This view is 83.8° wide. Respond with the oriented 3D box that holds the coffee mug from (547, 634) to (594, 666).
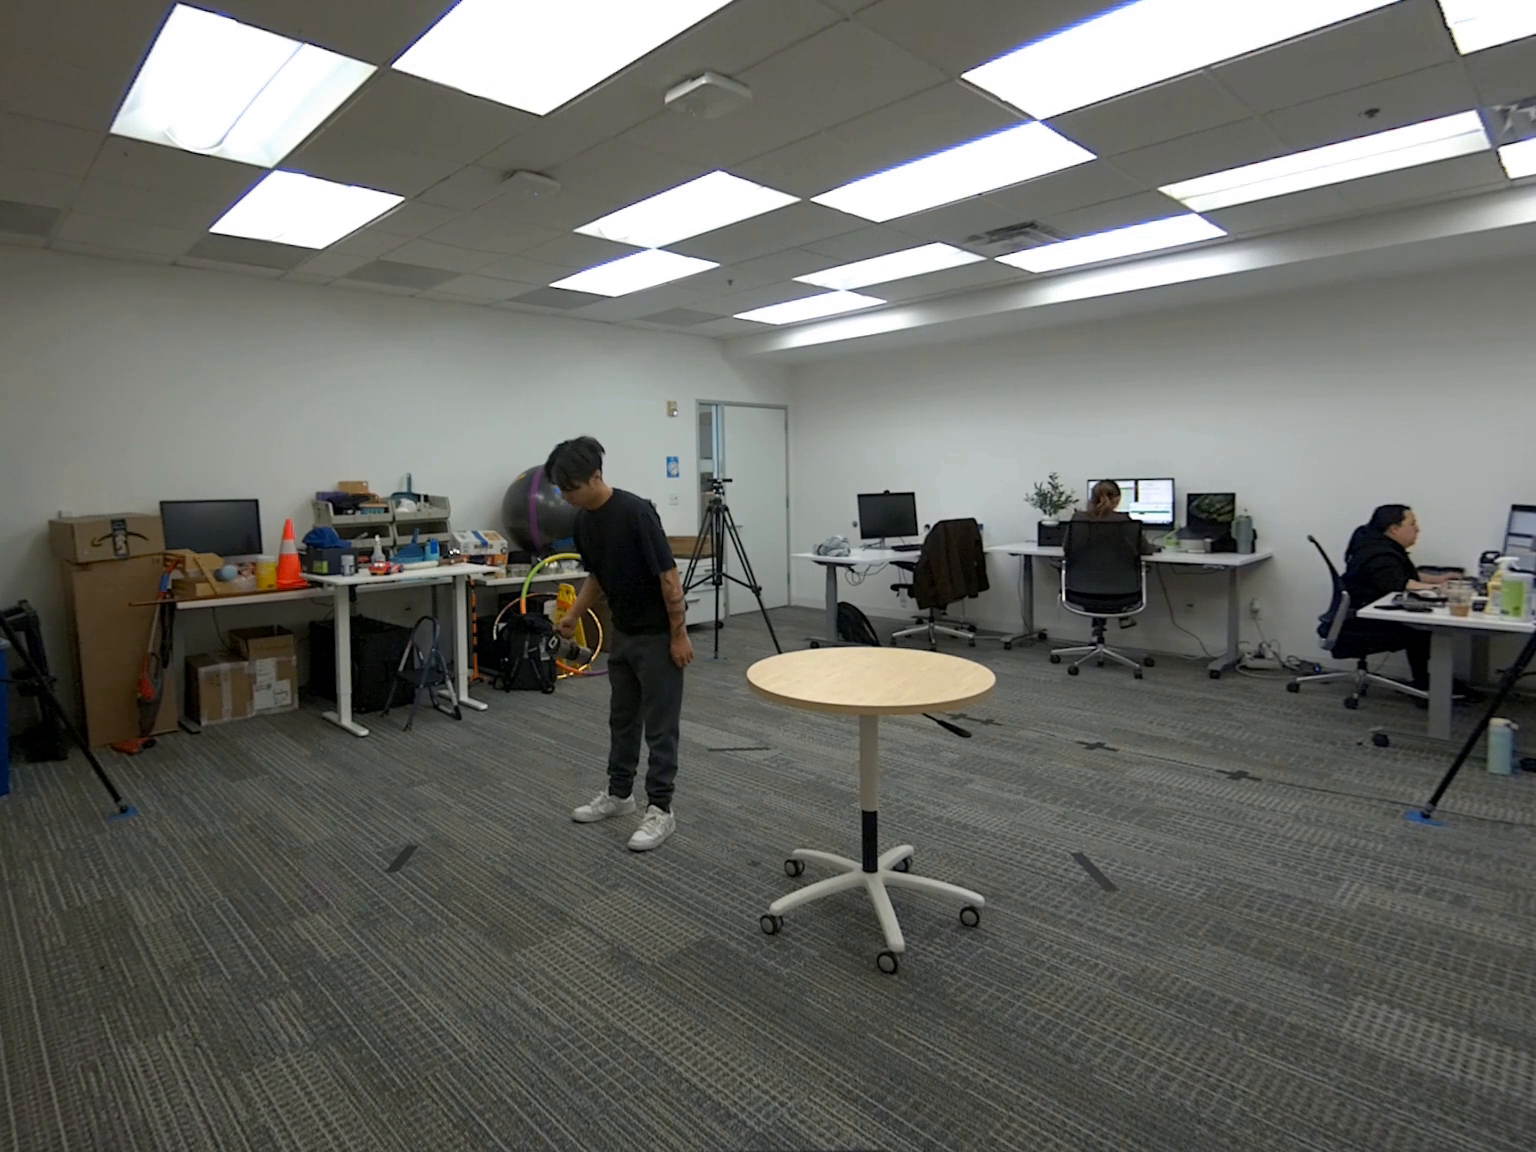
[{"bbox_3d":[-0.796,0.299,3.492,0.195,0.122,0.091,29,23,-43],"label":"coffee mug"}]
